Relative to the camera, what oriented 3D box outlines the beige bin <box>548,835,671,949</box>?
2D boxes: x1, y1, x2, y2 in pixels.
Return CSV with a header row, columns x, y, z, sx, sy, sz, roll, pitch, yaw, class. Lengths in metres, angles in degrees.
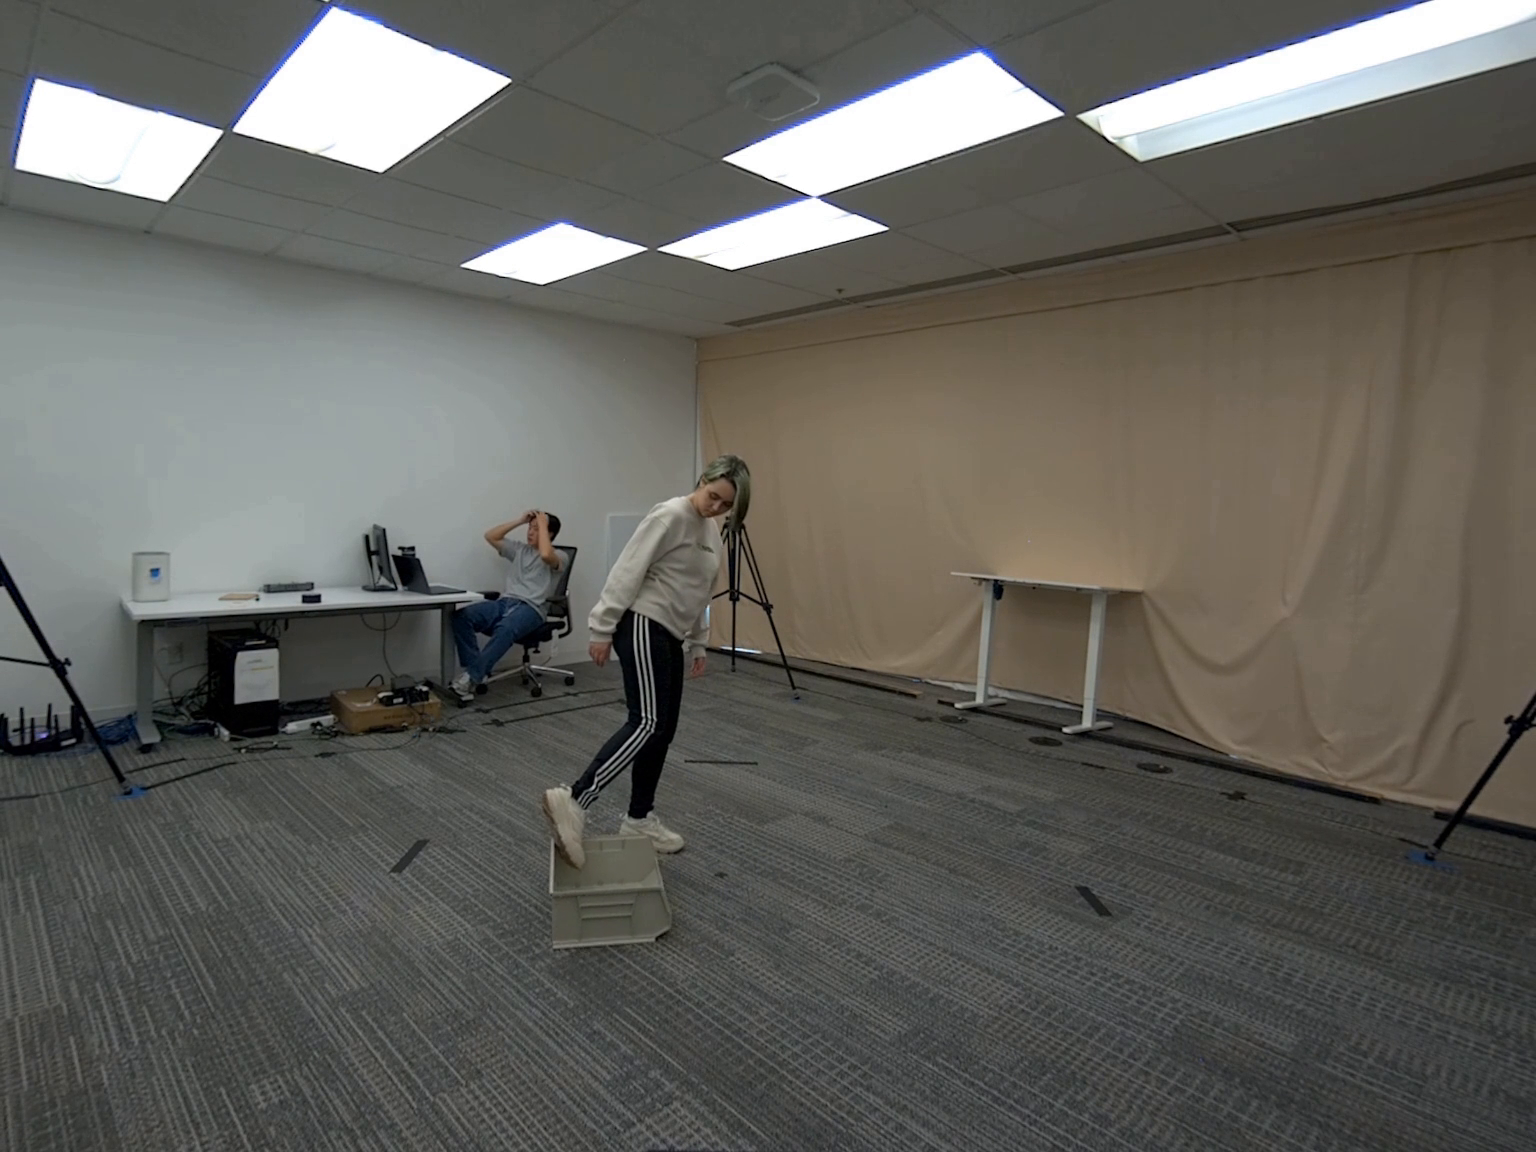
x,y,z,sx,sy,sz,roll,pitch,yaw,class
-0.539,1.035,2.793,0.373,0.188,0.428,0,6,-13,beige bin
